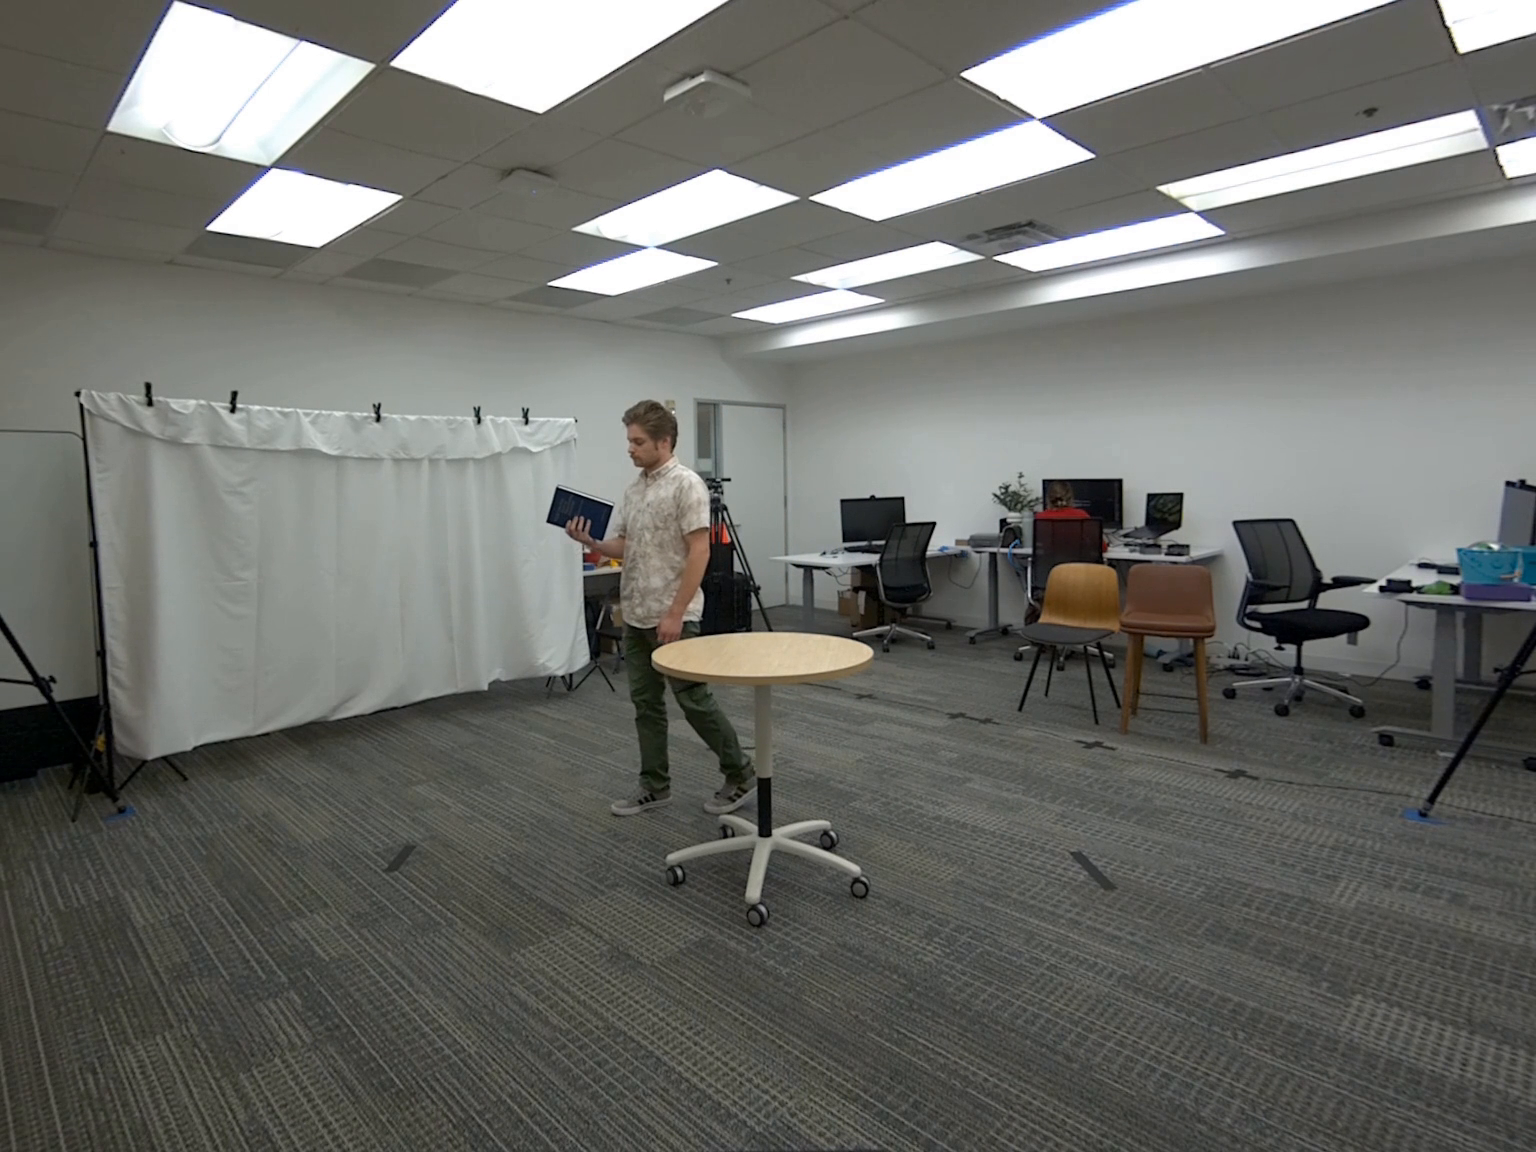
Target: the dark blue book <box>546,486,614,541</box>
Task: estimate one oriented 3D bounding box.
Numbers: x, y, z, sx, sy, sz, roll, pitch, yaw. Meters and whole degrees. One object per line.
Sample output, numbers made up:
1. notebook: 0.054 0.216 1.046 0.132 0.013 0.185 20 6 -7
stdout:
1. dark blue book: -0.767 -0.266 3.509 0.243 0.162 0.046 17 16 -6
